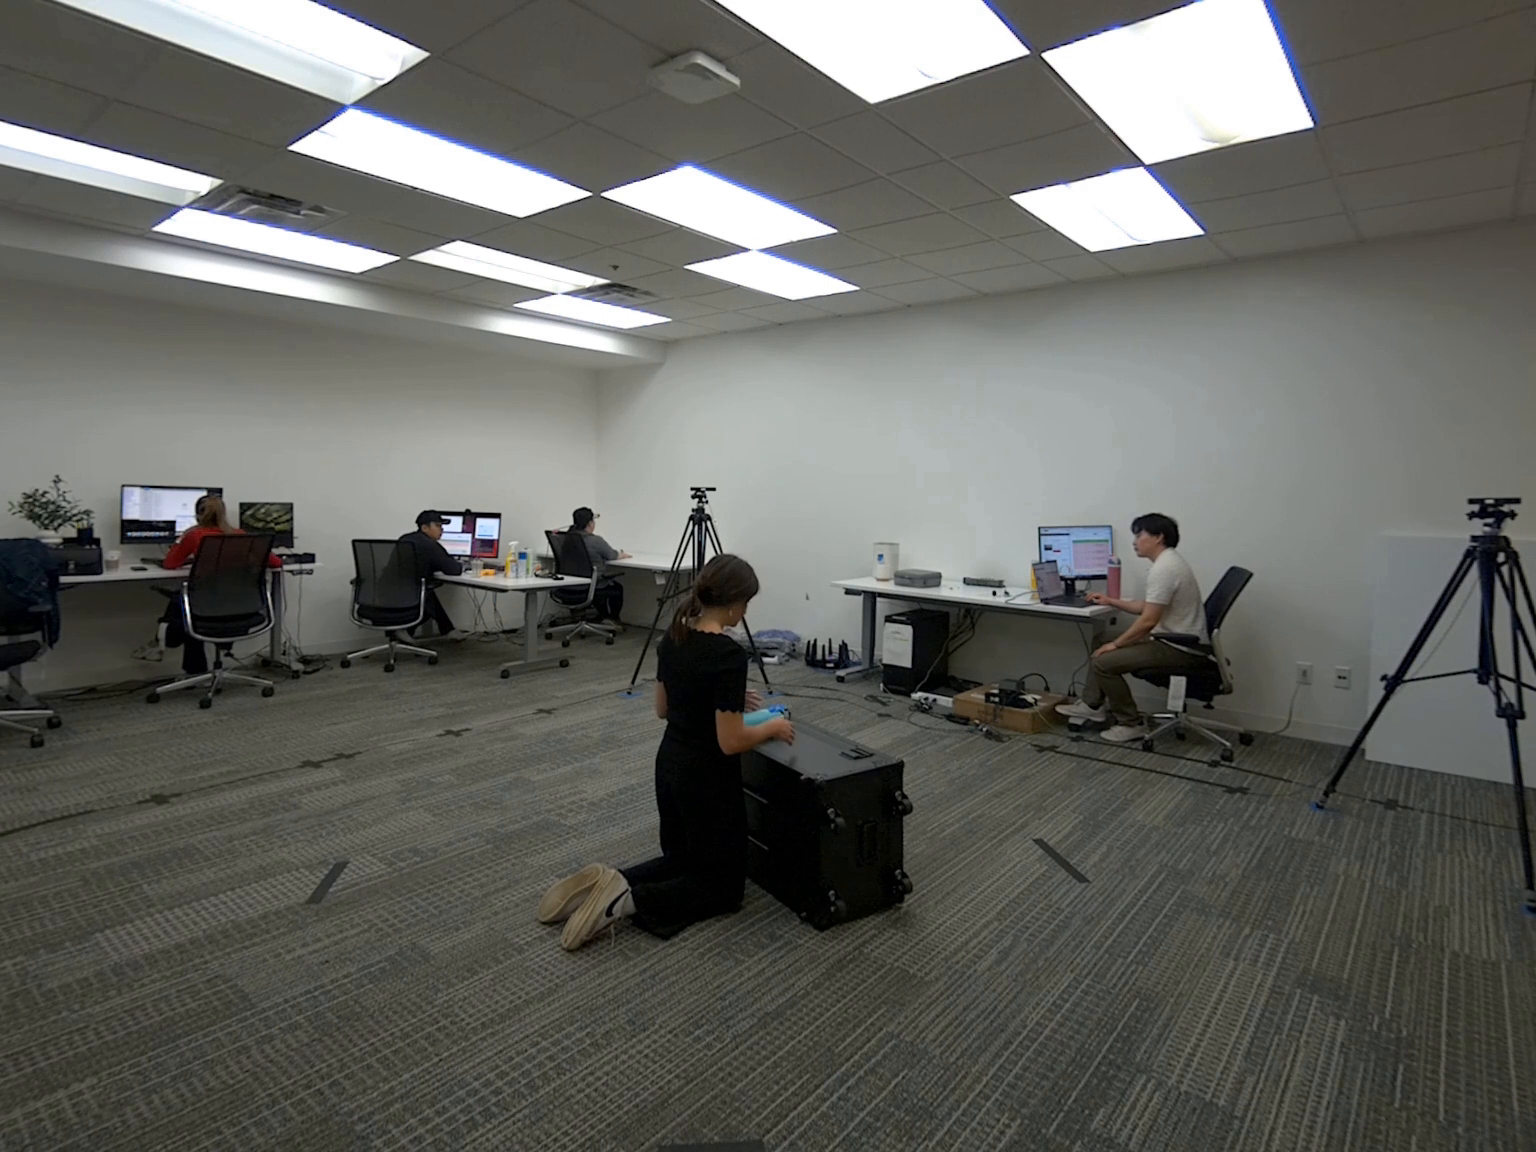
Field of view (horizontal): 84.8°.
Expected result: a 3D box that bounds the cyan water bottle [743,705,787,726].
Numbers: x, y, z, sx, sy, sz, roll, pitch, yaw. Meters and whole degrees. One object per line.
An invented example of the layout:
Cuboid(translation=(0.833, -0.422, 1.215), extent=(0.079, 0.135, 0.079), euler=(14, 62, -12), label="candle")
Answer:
Cuboid(translation=(-0.038, 0.534, 3.124), extent=(0.275, 0.092, 0.095), euler=(-7, 8, -38), label="cyan water bottle")
